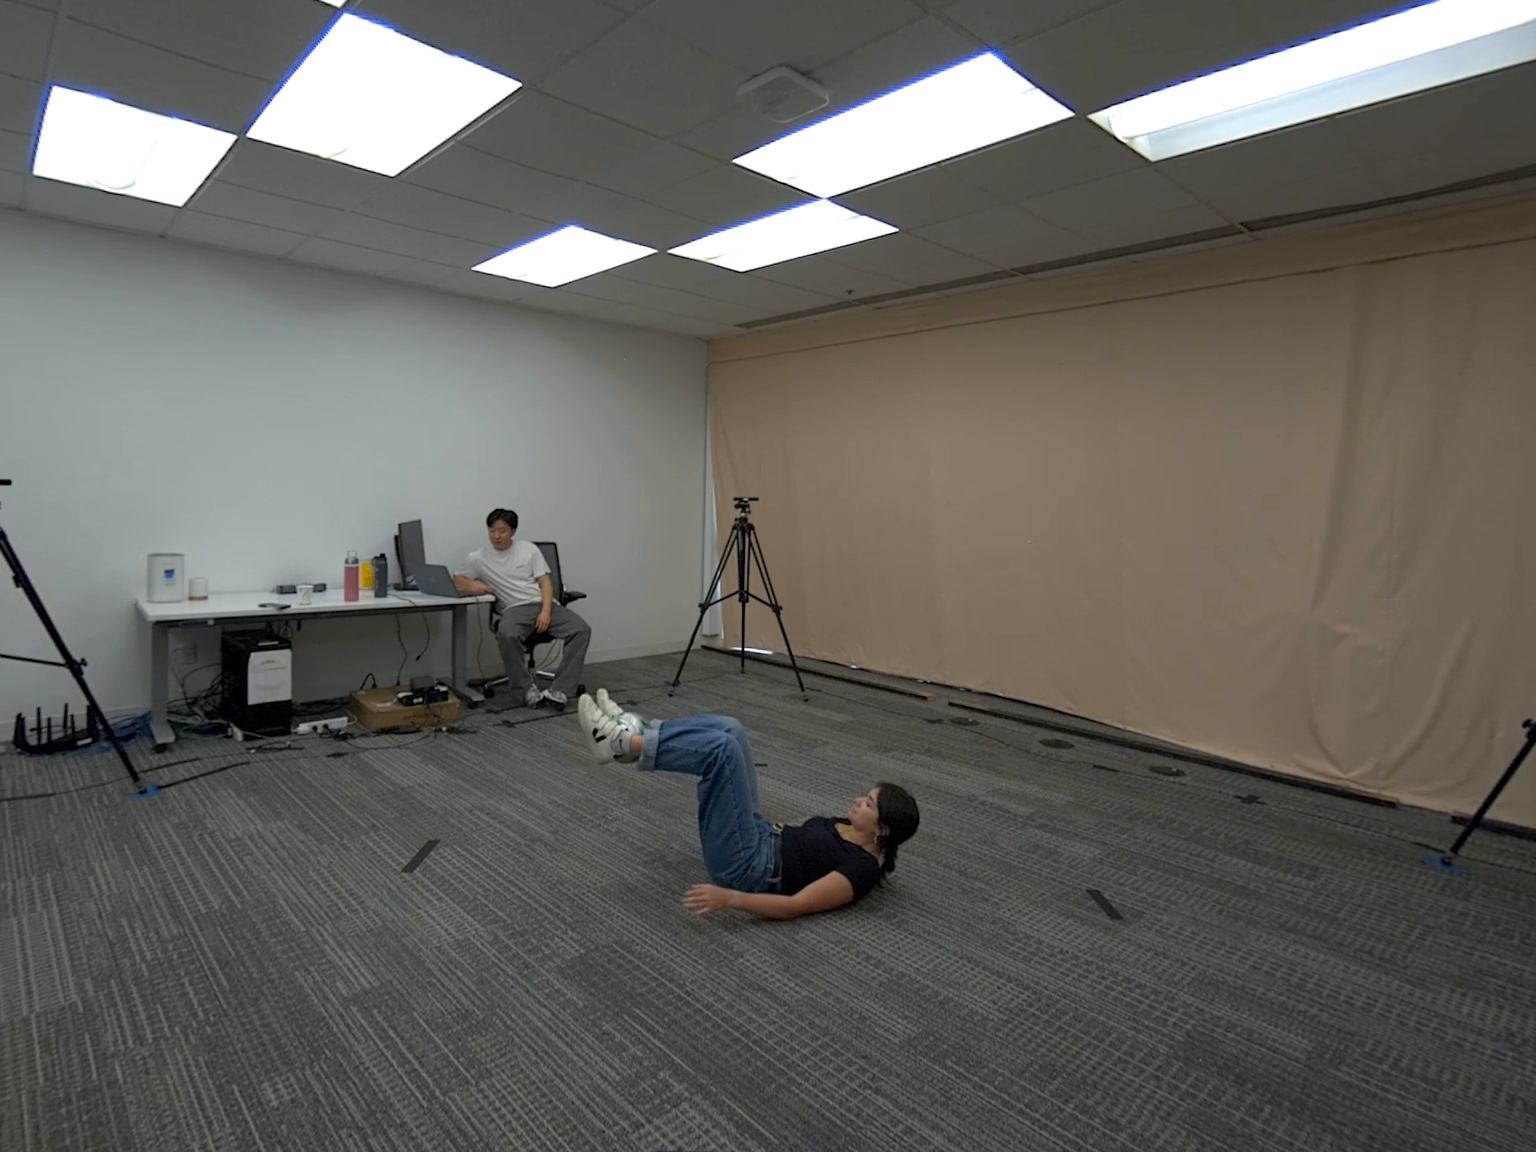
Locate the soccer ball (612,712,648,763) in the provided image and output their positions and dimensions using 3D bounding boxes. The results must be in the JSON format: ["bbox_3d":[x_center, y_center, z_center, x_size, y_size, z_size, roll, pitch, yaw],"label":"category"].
[{"bbox_3d":[-0.539,0.609,3.103,0.187,0.186,0.188,1,7,-1],"label":"soccer ball"}]
